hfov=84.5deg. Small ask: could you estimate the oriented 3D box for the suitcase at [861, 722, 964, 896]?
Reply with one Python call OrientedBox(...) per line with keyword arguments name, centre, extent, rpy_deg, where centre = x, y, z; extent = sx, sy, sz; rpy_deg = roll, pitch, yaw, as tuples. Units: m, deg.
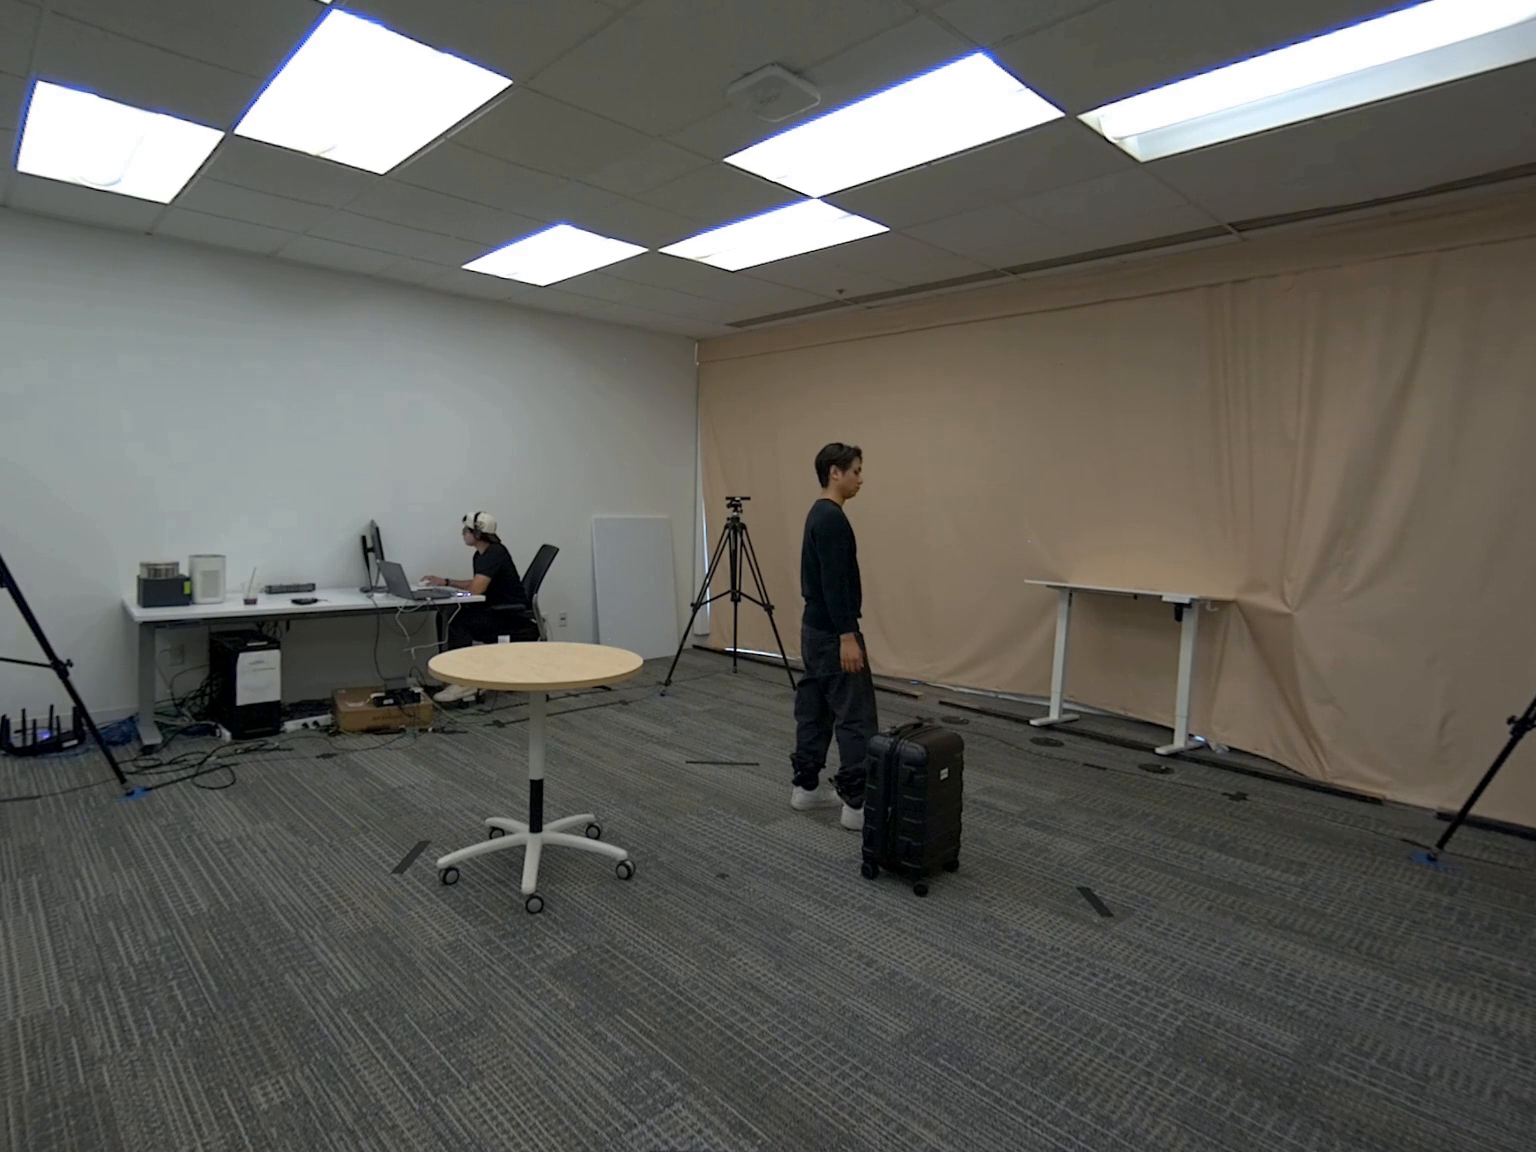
OrientedBox(name="suitcase", centre=(0.549, 0.844, 3.164), extent=(0.254, 0.548, 0.367), rpy_deg=(5, 4, 39))
